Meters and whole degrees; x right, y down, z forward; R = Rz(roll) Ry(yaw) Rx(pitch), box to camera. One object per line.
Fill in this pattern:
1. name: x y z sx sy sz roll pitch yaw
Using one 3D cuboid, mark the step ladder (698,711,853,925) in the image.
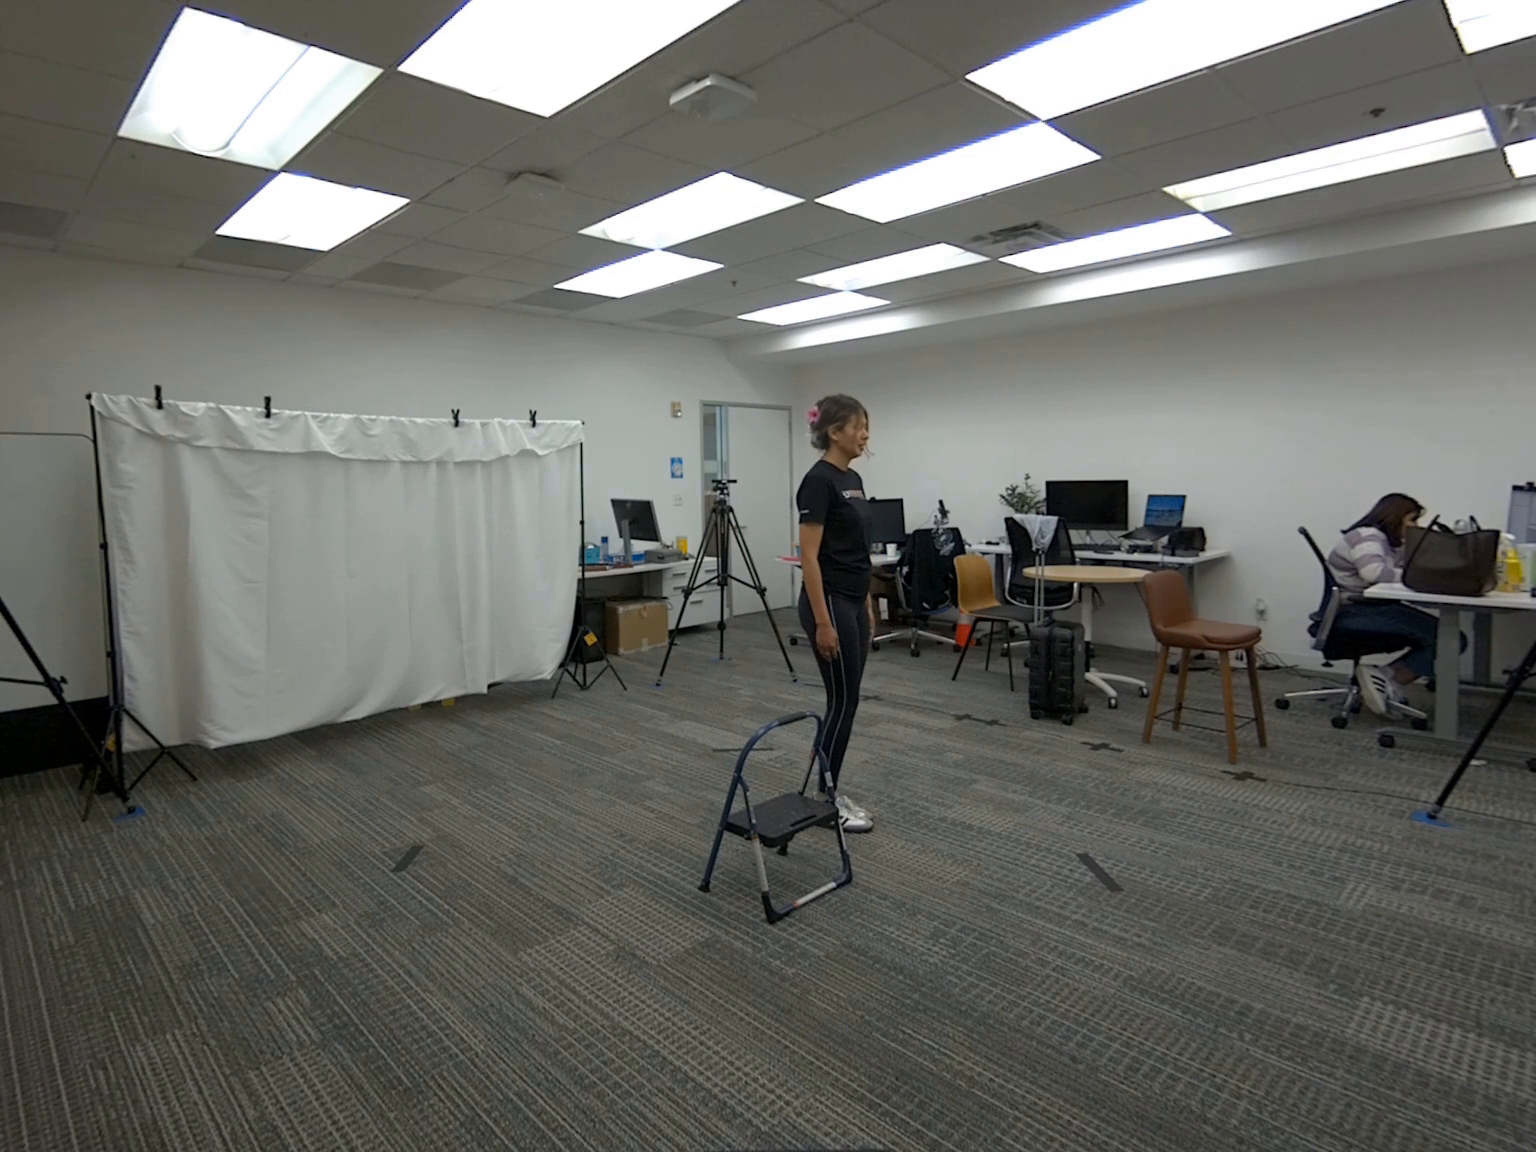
1. step ladder: 0.027 0.763 2.924 0.360 0.604 0.419 3 6 44
